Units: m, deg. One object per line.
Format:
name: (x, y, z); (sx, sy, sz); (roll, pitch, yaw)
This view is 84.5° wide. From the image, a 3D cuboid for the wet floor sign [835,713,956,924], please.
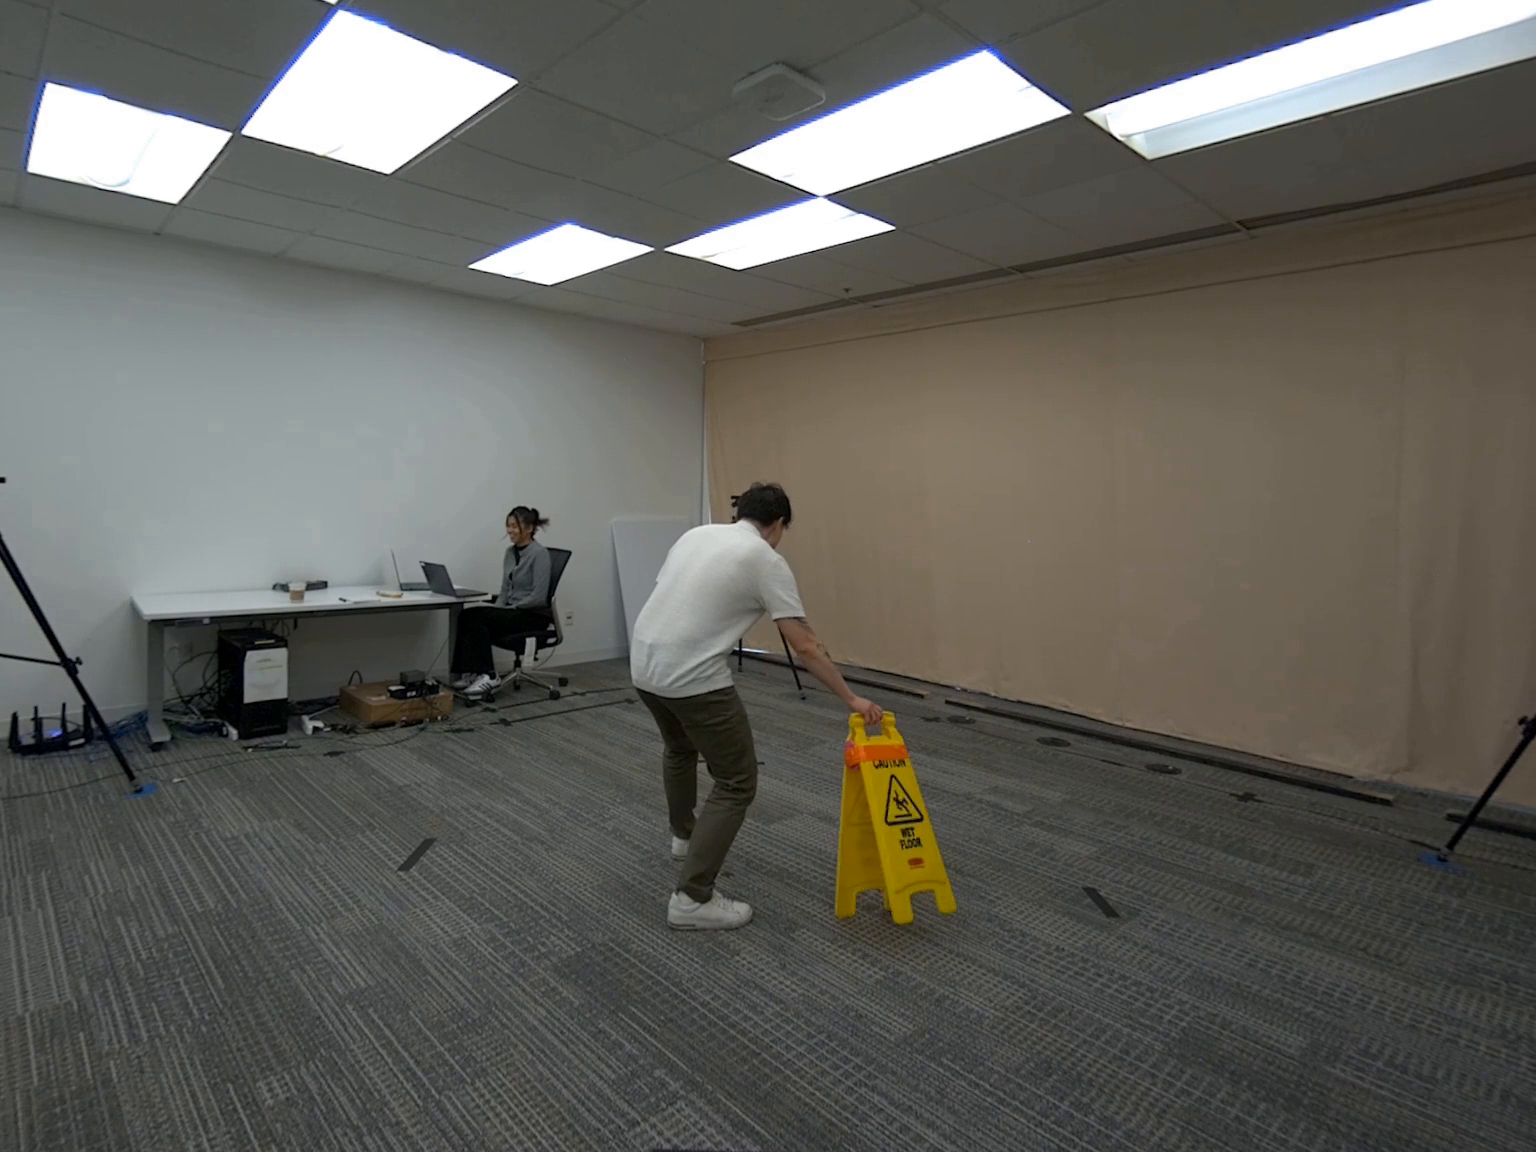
wet floor sign: (0.374, 0.785, 2.809); (0.275, 0.655, 0.293); (7, -21, -36)
